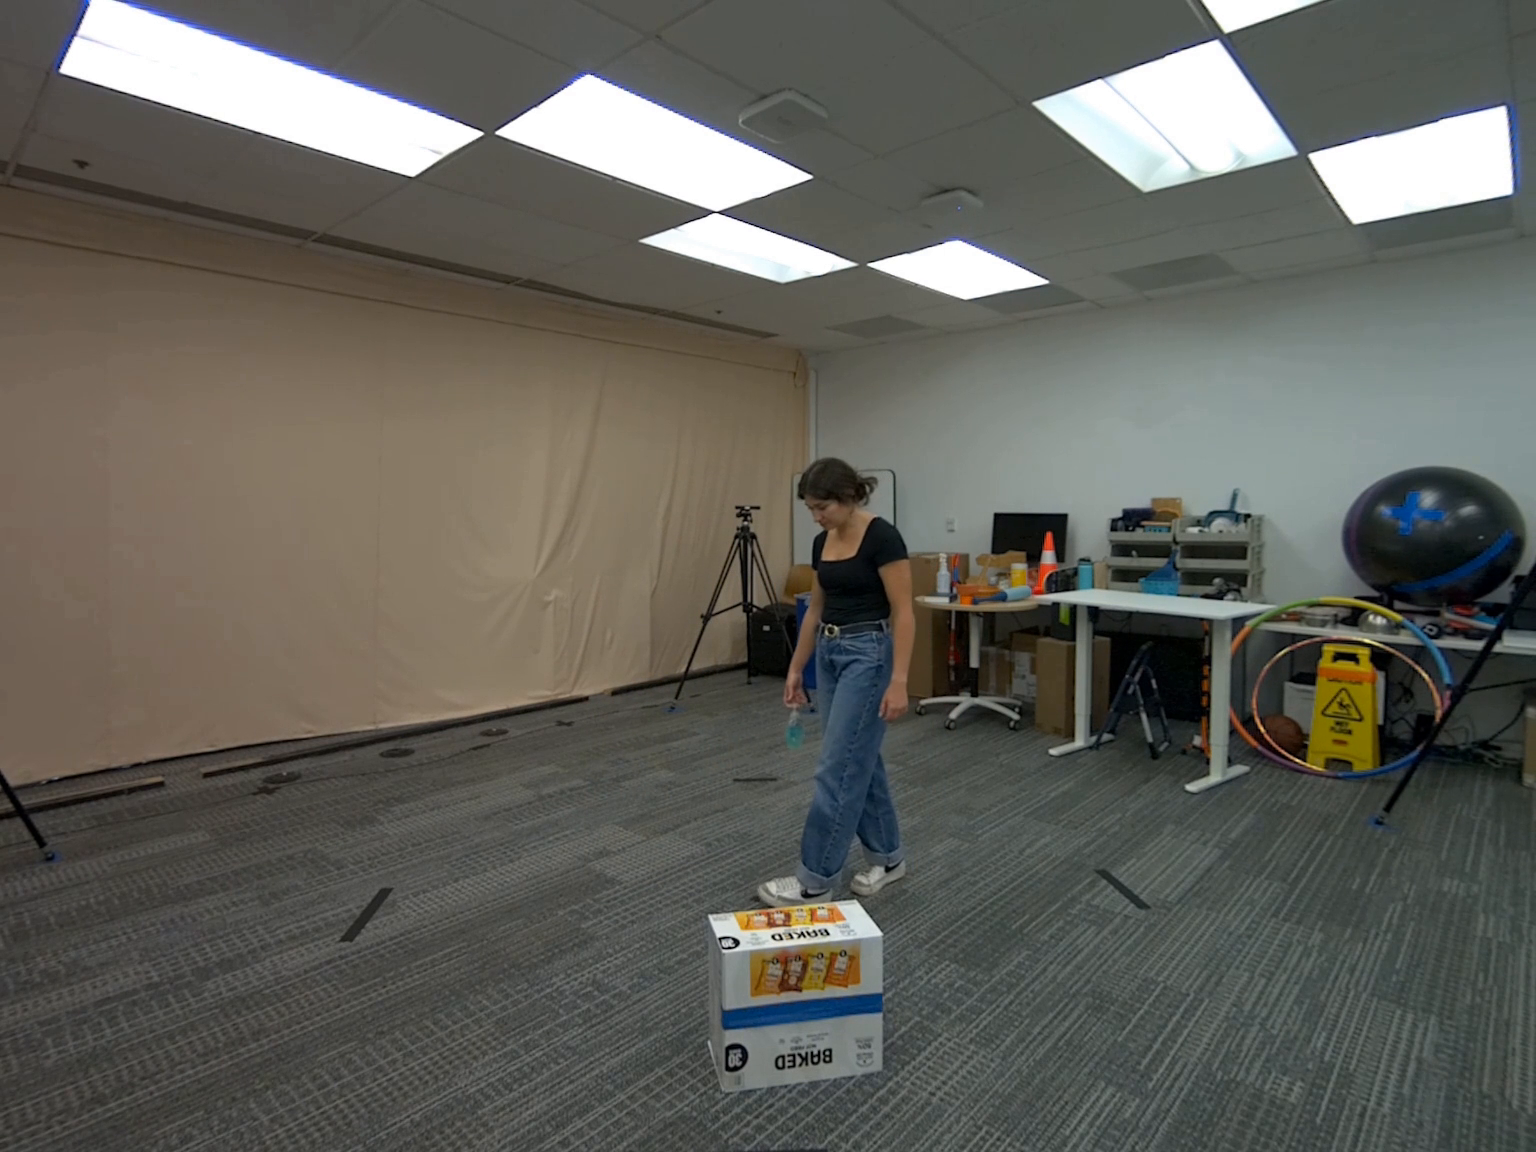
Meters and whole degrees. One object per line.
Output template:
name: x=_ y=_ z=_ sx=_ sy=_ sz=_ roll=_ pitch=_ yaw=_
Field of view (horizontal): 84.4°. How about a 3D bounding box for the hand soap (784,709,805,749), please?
hand soap: x=0.105 y=0.559 z=3.132 sx=0.083 sy=0.167 sz=0.044 roll=-2 pitch=6 yaw=-20
